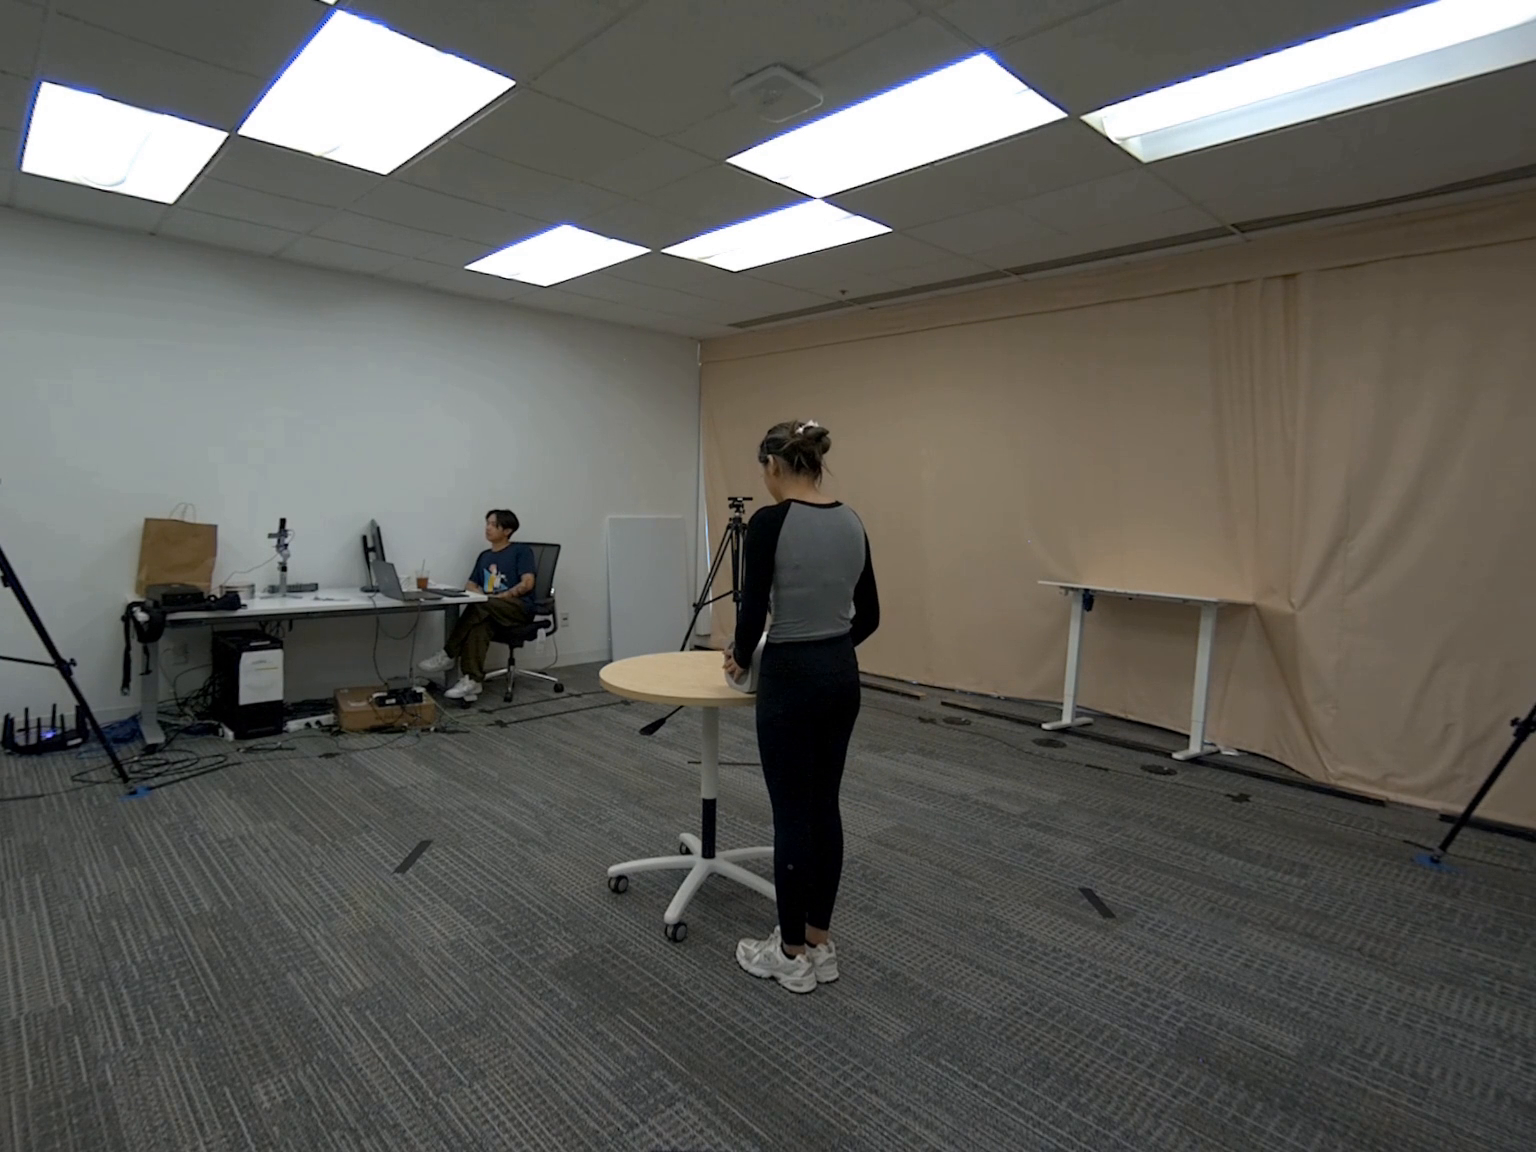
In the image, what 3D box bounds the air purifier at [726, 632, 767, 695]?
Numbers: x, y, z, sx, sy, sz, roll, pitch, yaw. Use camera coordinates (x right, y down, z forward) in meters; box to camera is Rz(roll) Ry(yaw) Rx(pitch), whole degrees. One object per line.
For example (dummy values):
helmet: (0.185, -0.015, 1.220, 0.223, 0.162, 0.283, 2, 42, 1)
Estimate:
air purifier: (0.017, 0.270, 2.686, 0.260, 0.171, 0.175, -2, 5, -30)
